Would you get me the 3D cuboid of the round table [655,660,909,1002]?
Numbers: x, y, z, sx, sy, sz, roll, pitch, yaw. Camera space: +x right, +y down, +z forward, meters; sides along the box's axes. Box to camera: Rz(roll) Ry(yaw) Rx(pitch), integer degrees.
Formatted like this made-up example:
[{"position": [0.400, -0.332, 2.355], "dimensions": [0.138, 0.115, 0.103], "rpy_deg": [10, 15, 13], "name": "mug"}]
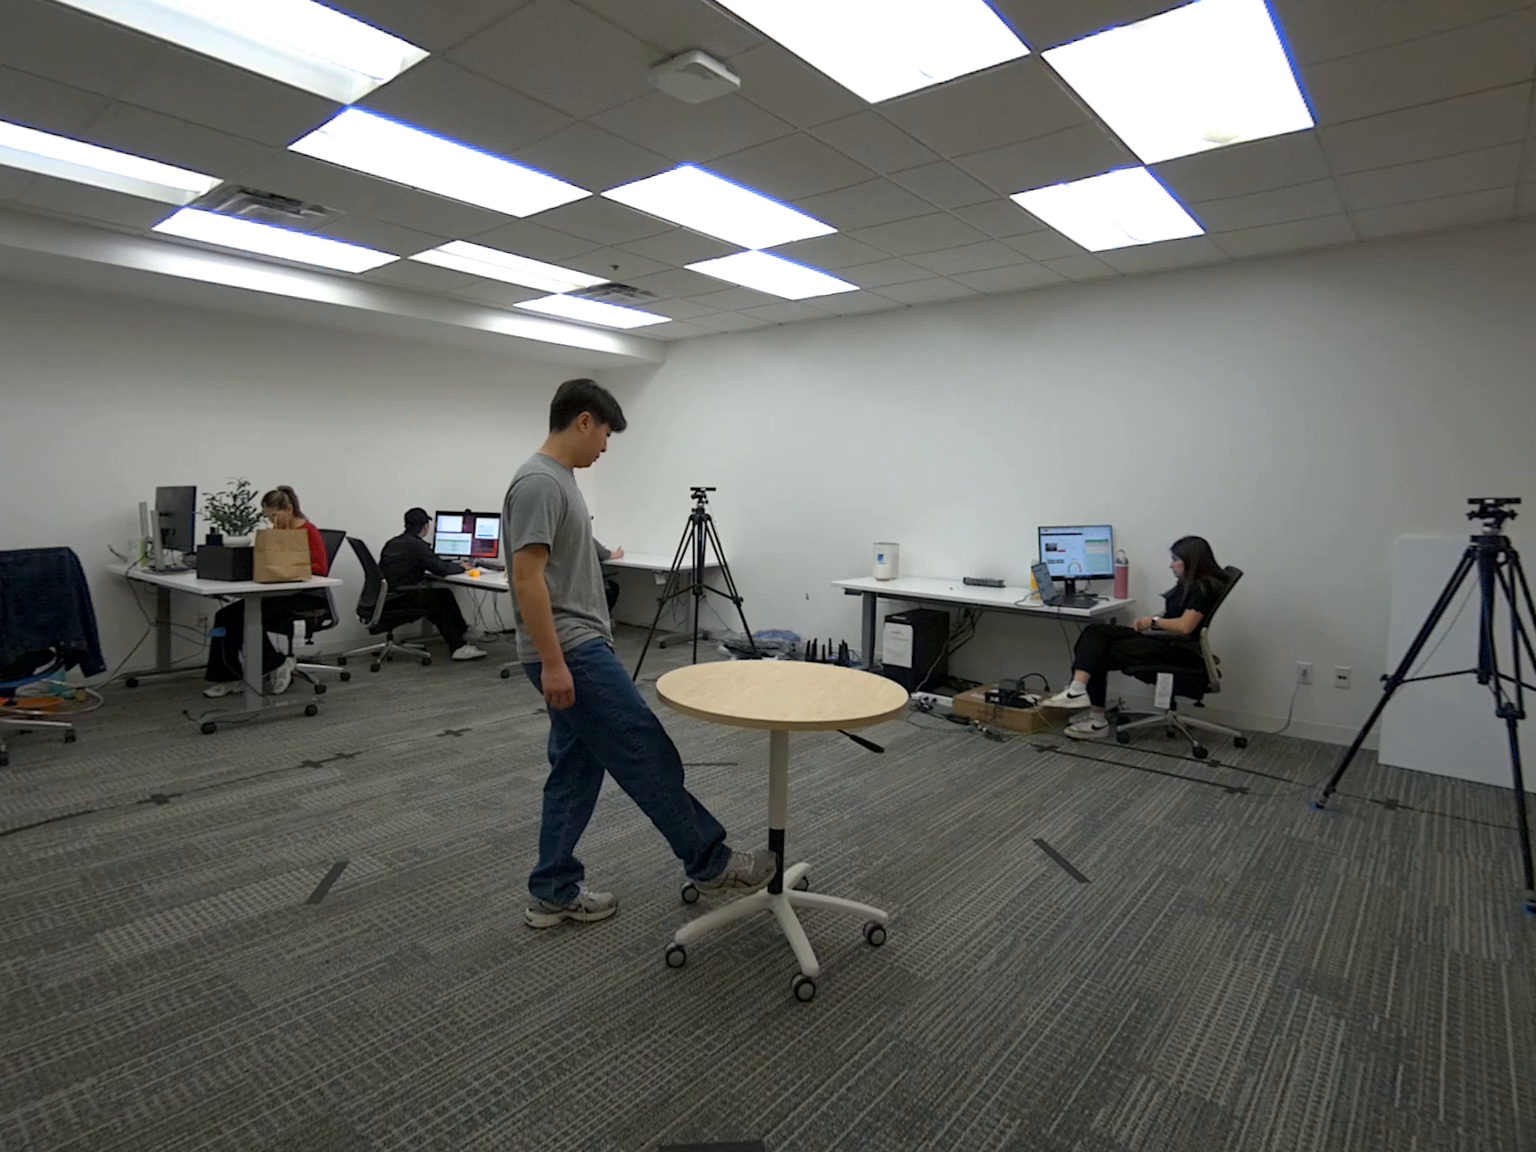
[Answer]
[{"position": [0.019, 0.733, 2.624], "dimensions": [0.763, 0.791, 0.768], "rpy_deg": [1, 4, -2], "name": "round table"}]
